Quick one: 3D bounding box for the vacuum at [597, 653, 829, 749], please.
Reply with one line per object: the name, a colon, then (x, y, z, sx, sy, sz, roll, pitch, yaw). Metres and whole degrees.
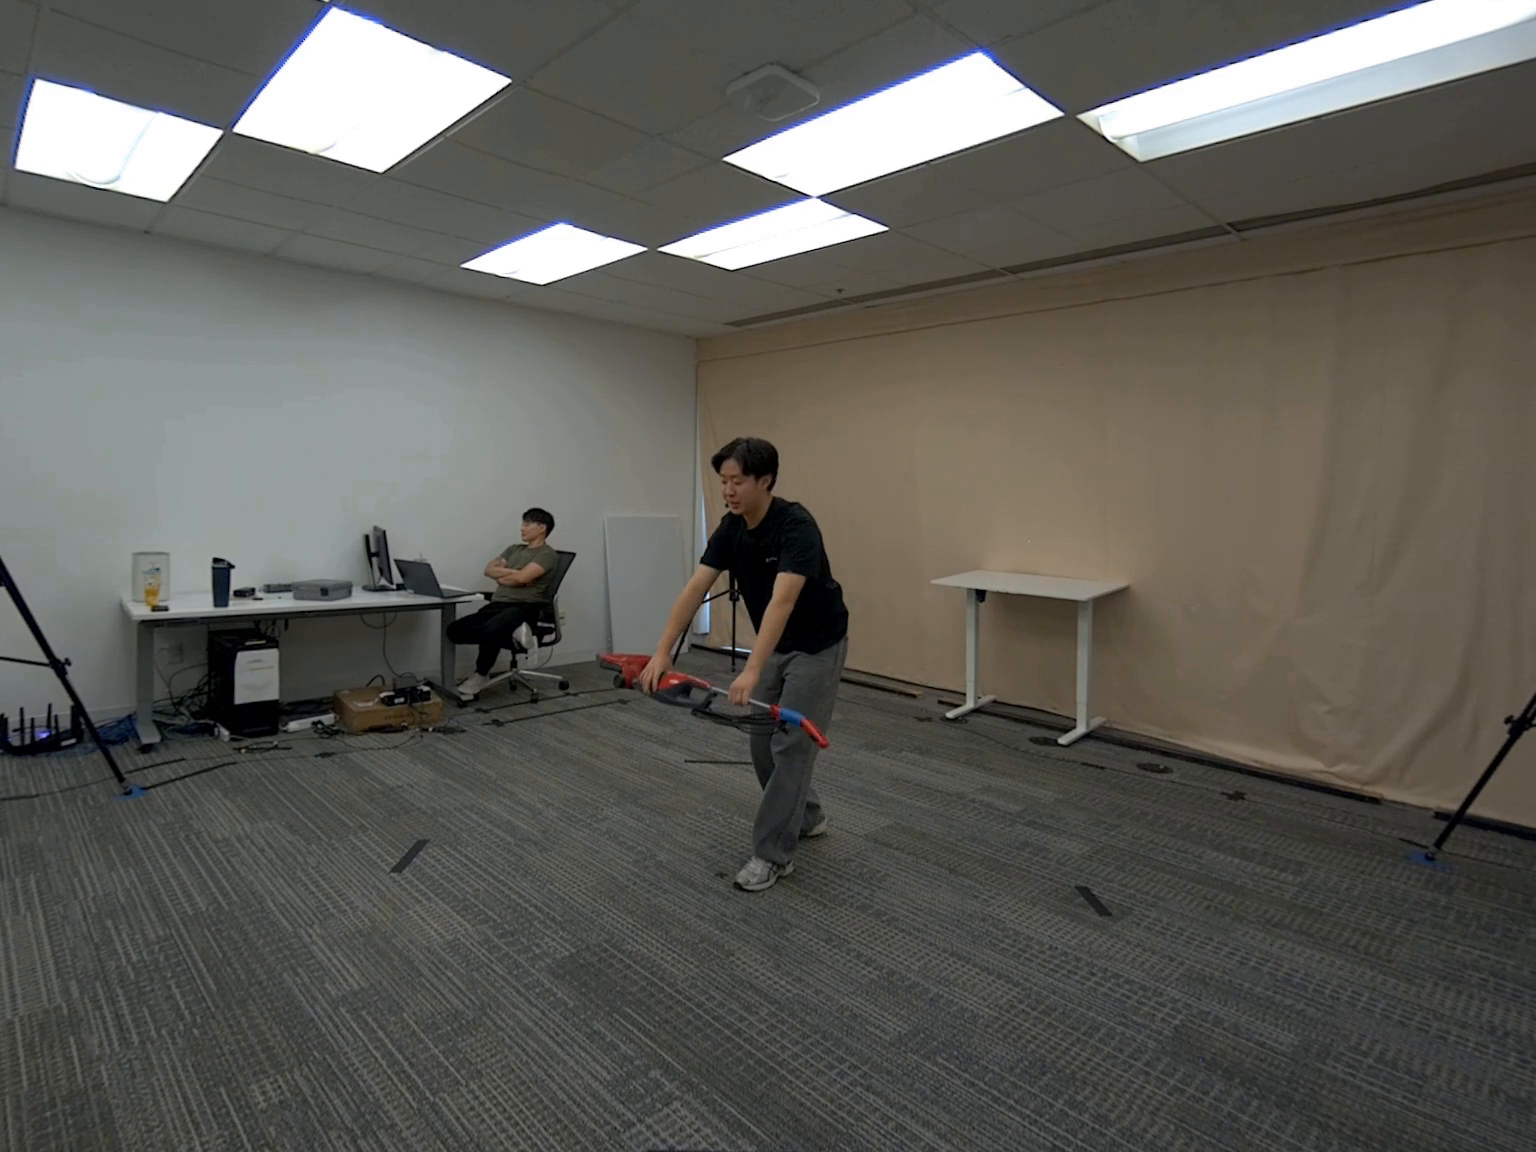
vacuum: (-0.202, 0.431, 2.837, 0.246, 0.144, 1.077, 10, 1, -40)
